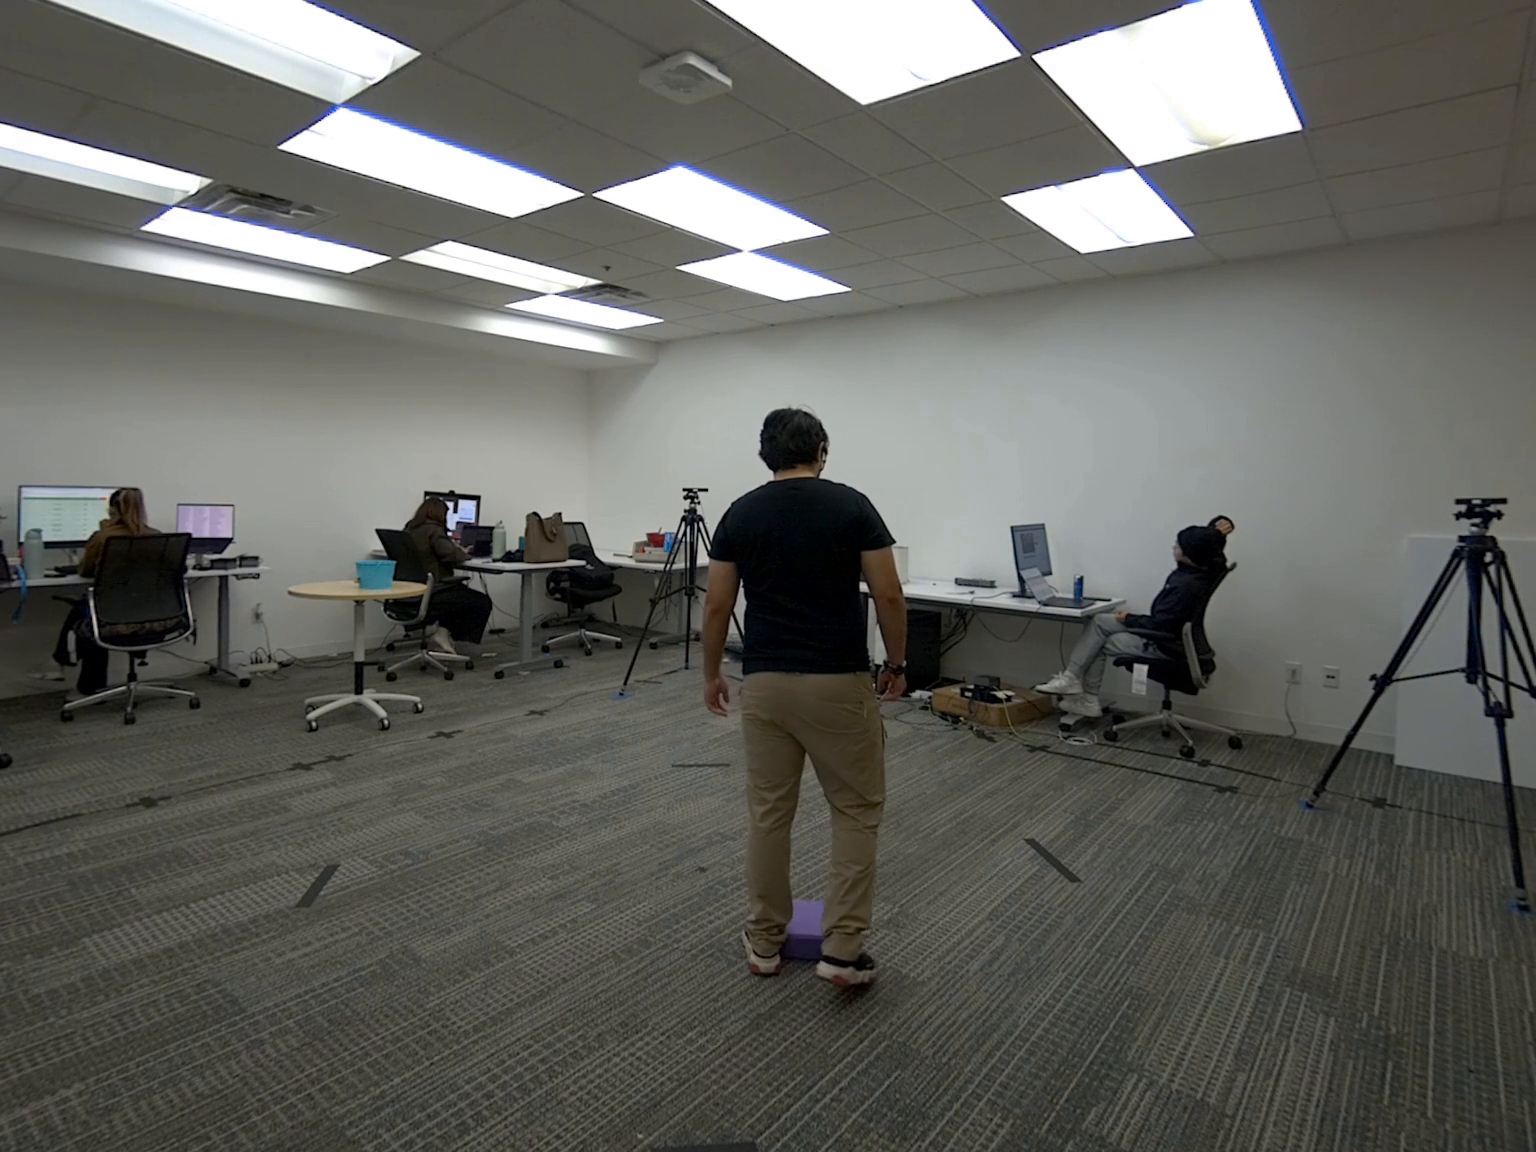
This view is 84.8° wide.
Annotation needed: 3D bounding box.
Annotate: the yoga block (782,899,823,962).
[{"bbox_3d":[0.101,1.081,2.621,0.149,0.076,0.230,1,6,0],"label":"yoga block"}]
